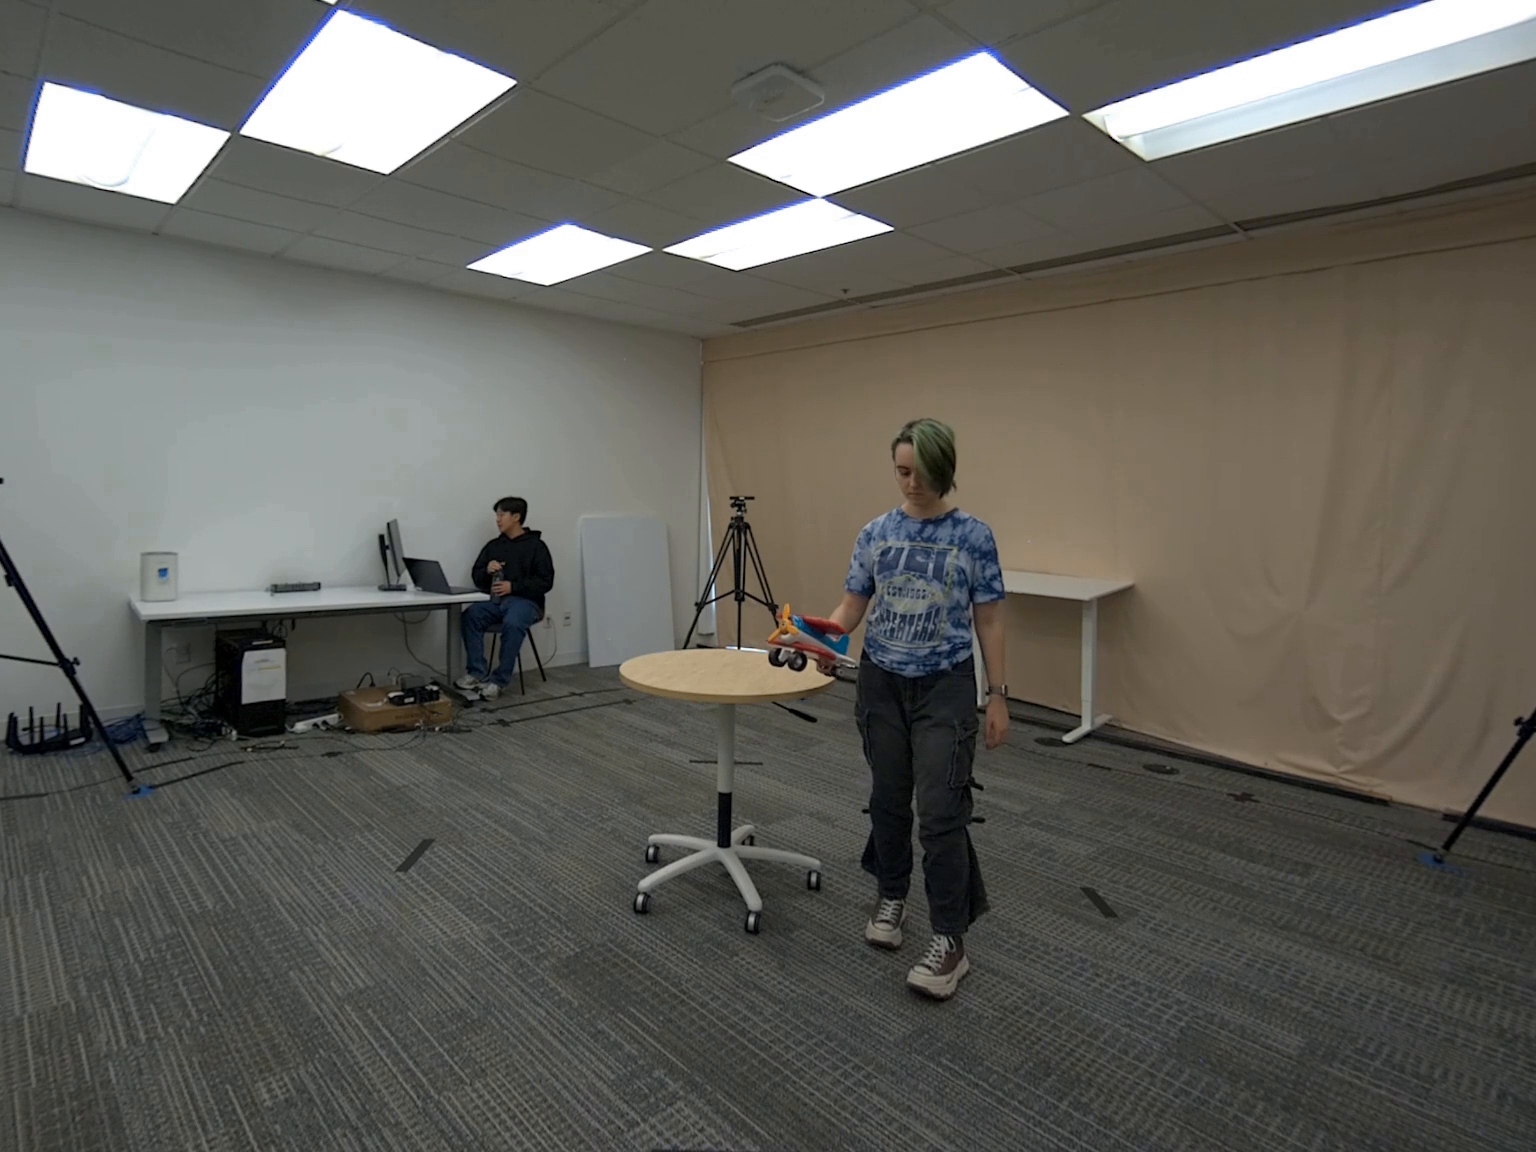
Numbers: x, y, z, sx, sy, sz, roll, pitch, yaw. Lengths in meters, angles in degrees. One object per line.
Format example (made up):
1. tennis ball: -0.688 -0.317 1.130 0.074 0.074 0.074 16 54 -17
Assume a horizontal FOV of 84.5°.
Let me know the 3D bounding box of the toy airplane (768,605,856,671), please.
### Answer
1. toy airplane: 0.111 0.198 2.405 0.256 0.157 0.253 7 -5 25
